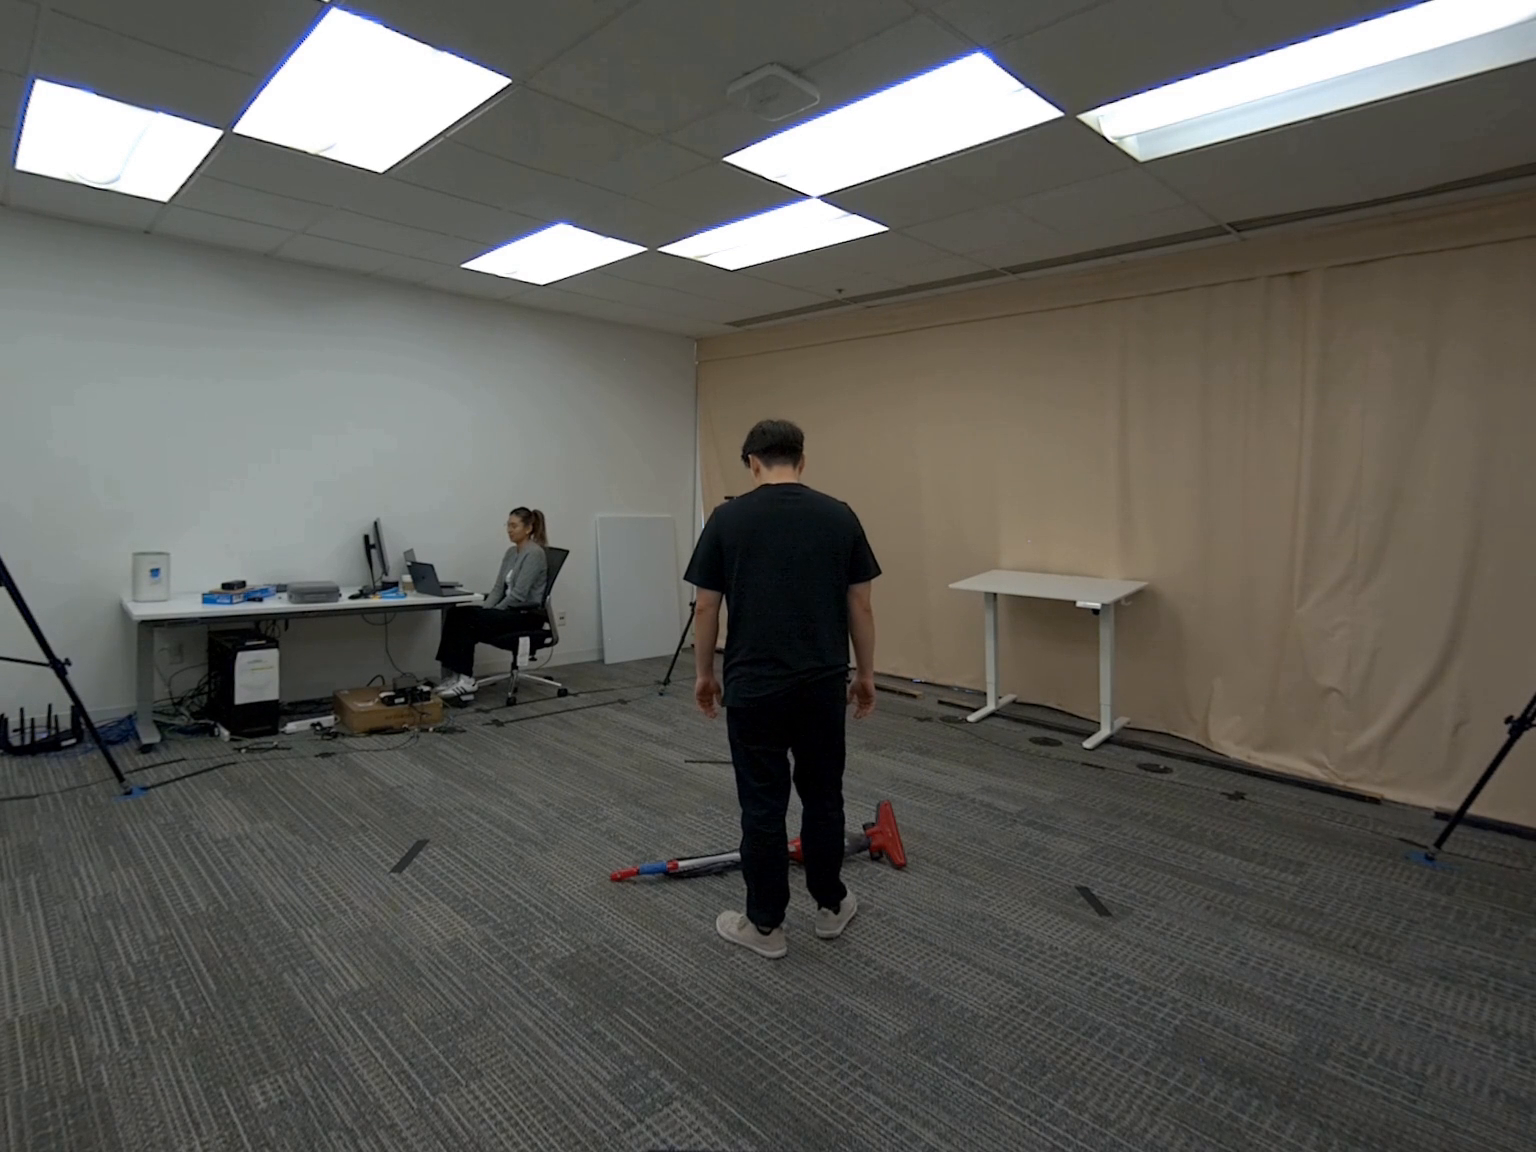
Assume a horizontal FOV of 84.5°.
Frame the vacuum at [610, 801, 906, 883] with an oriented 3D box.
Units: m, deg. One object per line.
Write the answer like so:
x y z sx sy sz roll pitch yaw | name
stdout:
-0.051 1.054 3.157 1.040 0.258 0.142 -5 -31 -12 | vacuum
